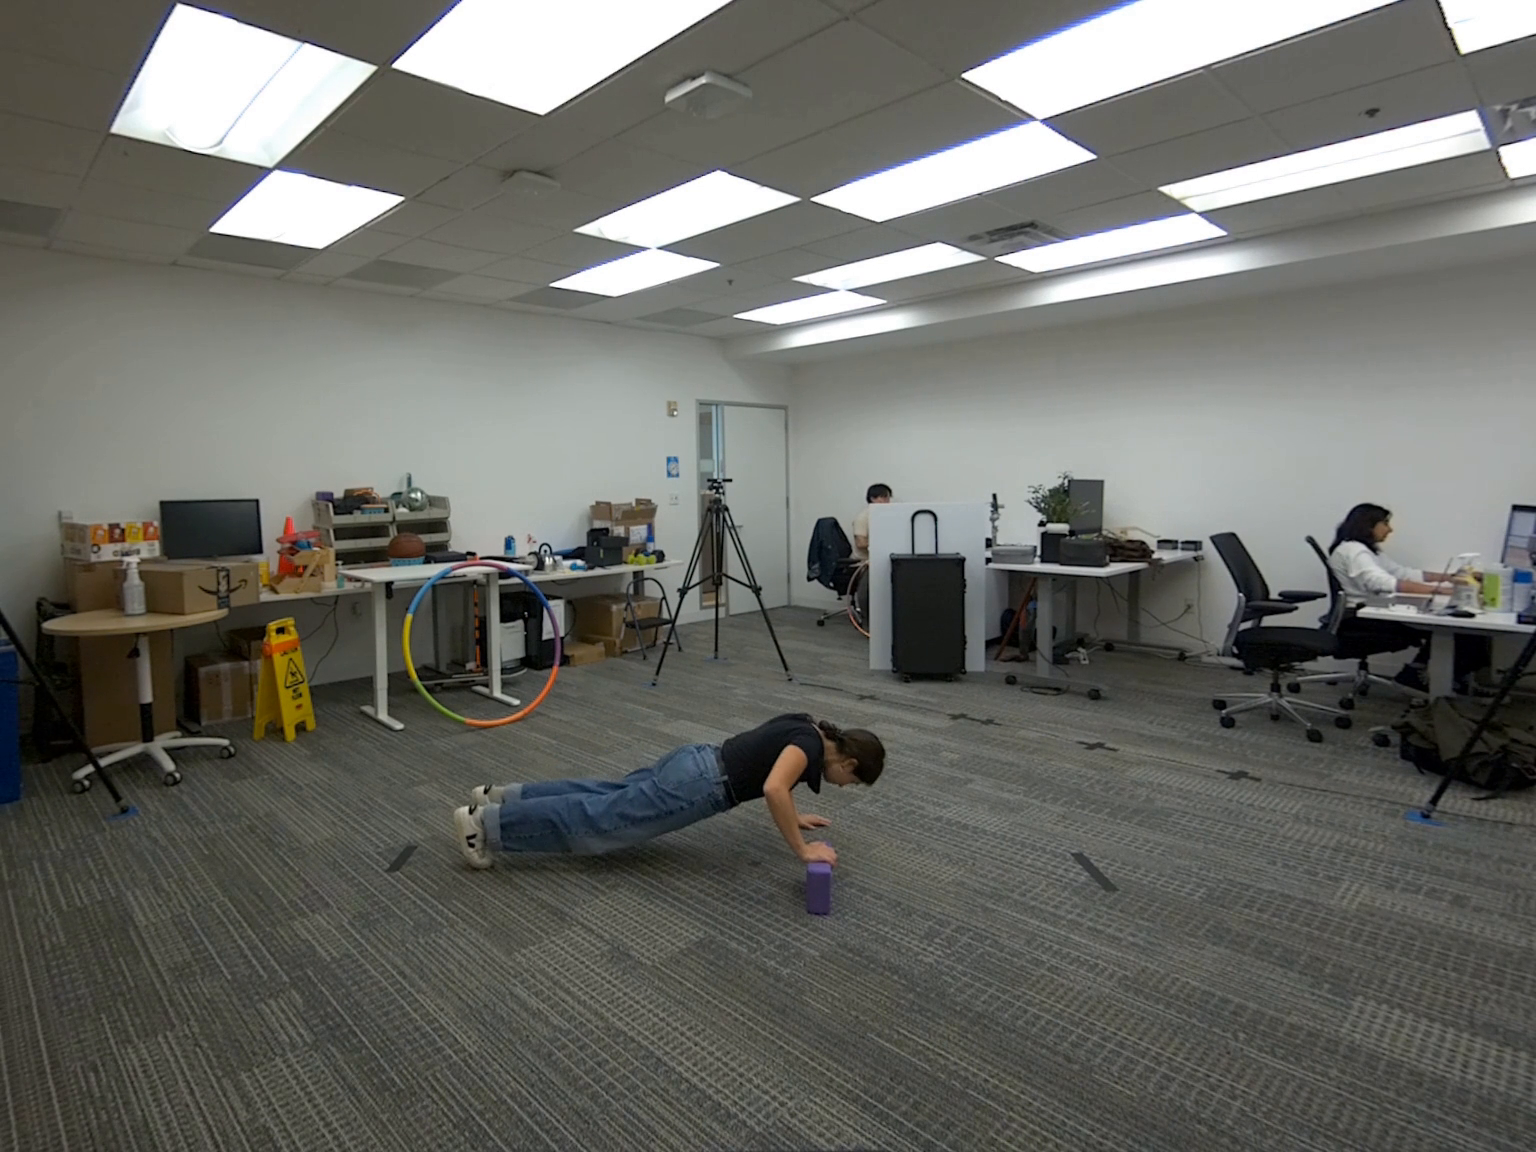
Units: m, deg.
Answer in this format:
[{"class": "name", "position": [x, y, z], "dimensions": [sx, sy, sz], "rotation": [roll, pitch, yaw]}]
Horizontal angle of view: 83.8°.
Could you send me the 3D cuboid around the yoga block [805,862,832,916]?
[{"class": "yoga block", "position": [0.169, 1.005, 2.843], "dimensions": [0.077, 0.149, 0.228], "rotation": [-2, 2, 4]}]
